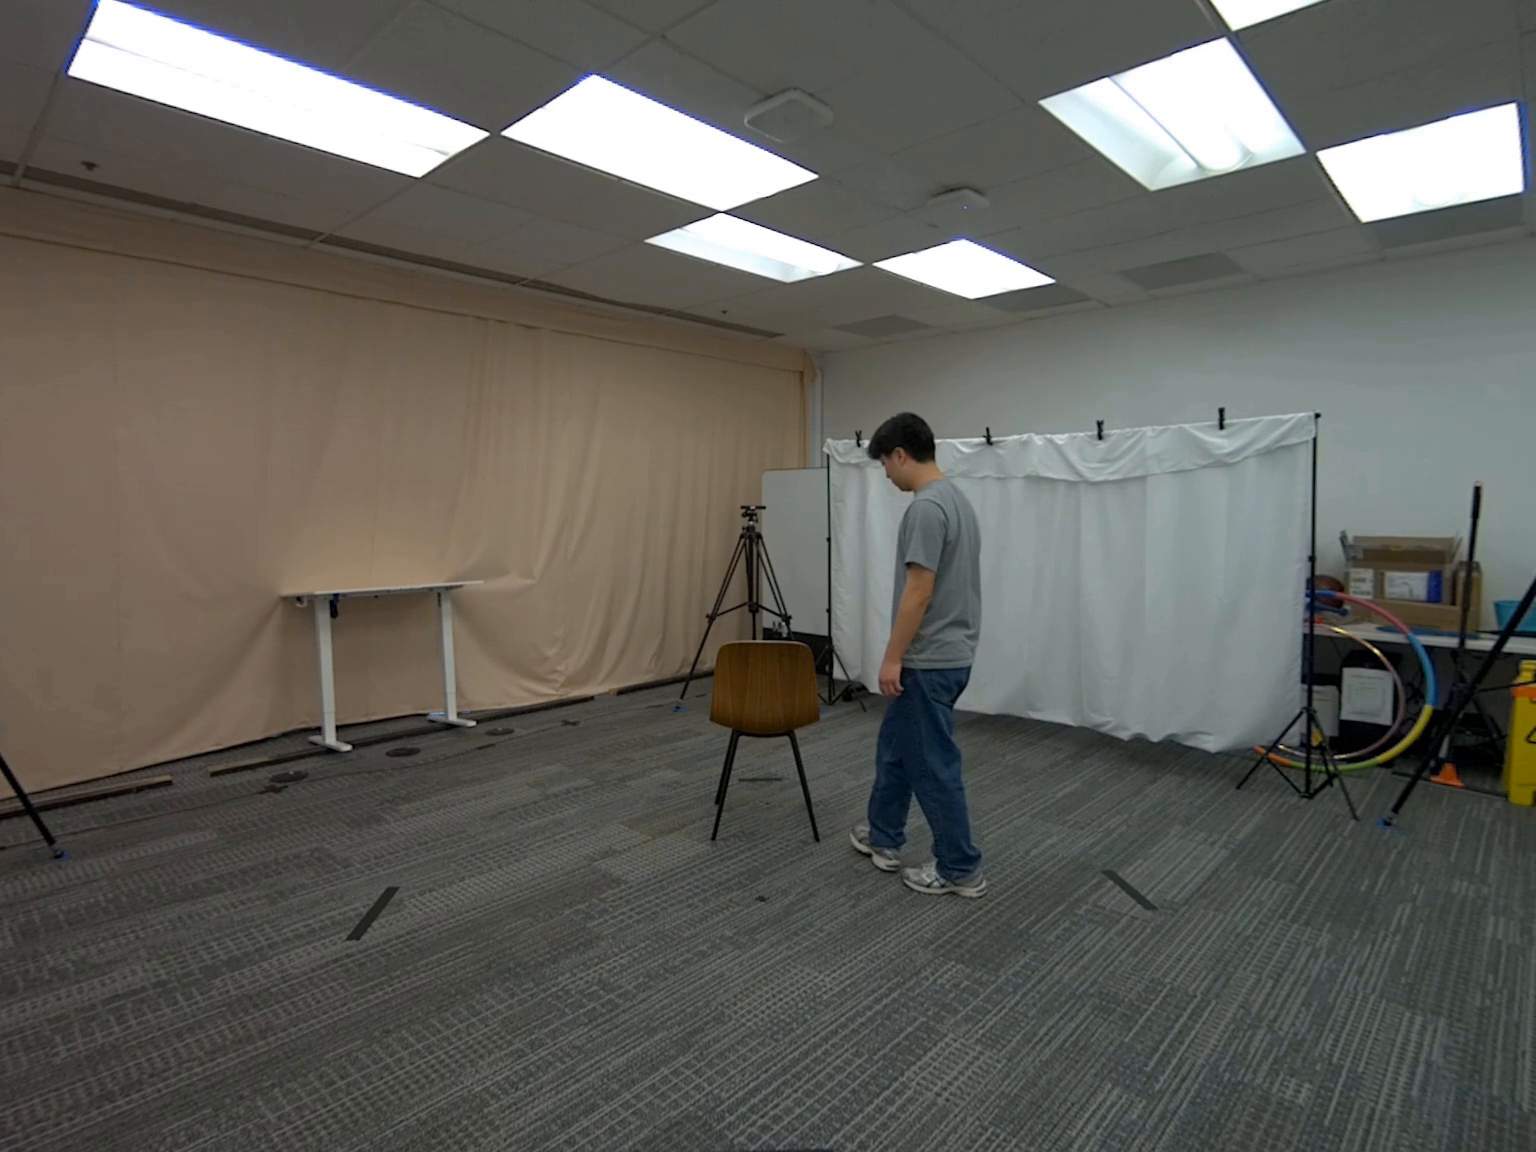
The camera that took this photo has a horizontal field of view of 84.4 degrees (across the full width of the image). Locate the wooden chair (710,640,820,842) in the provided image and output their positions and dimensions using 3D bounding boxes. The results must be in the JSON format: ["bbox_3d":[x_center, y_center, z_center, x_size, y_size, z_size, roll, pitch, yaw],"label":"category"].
[{"bbox_3d":[-0.028,0.661,3.697,0.478,0.874,0.525,-1,6,0],"label":"wooden chair"}]
